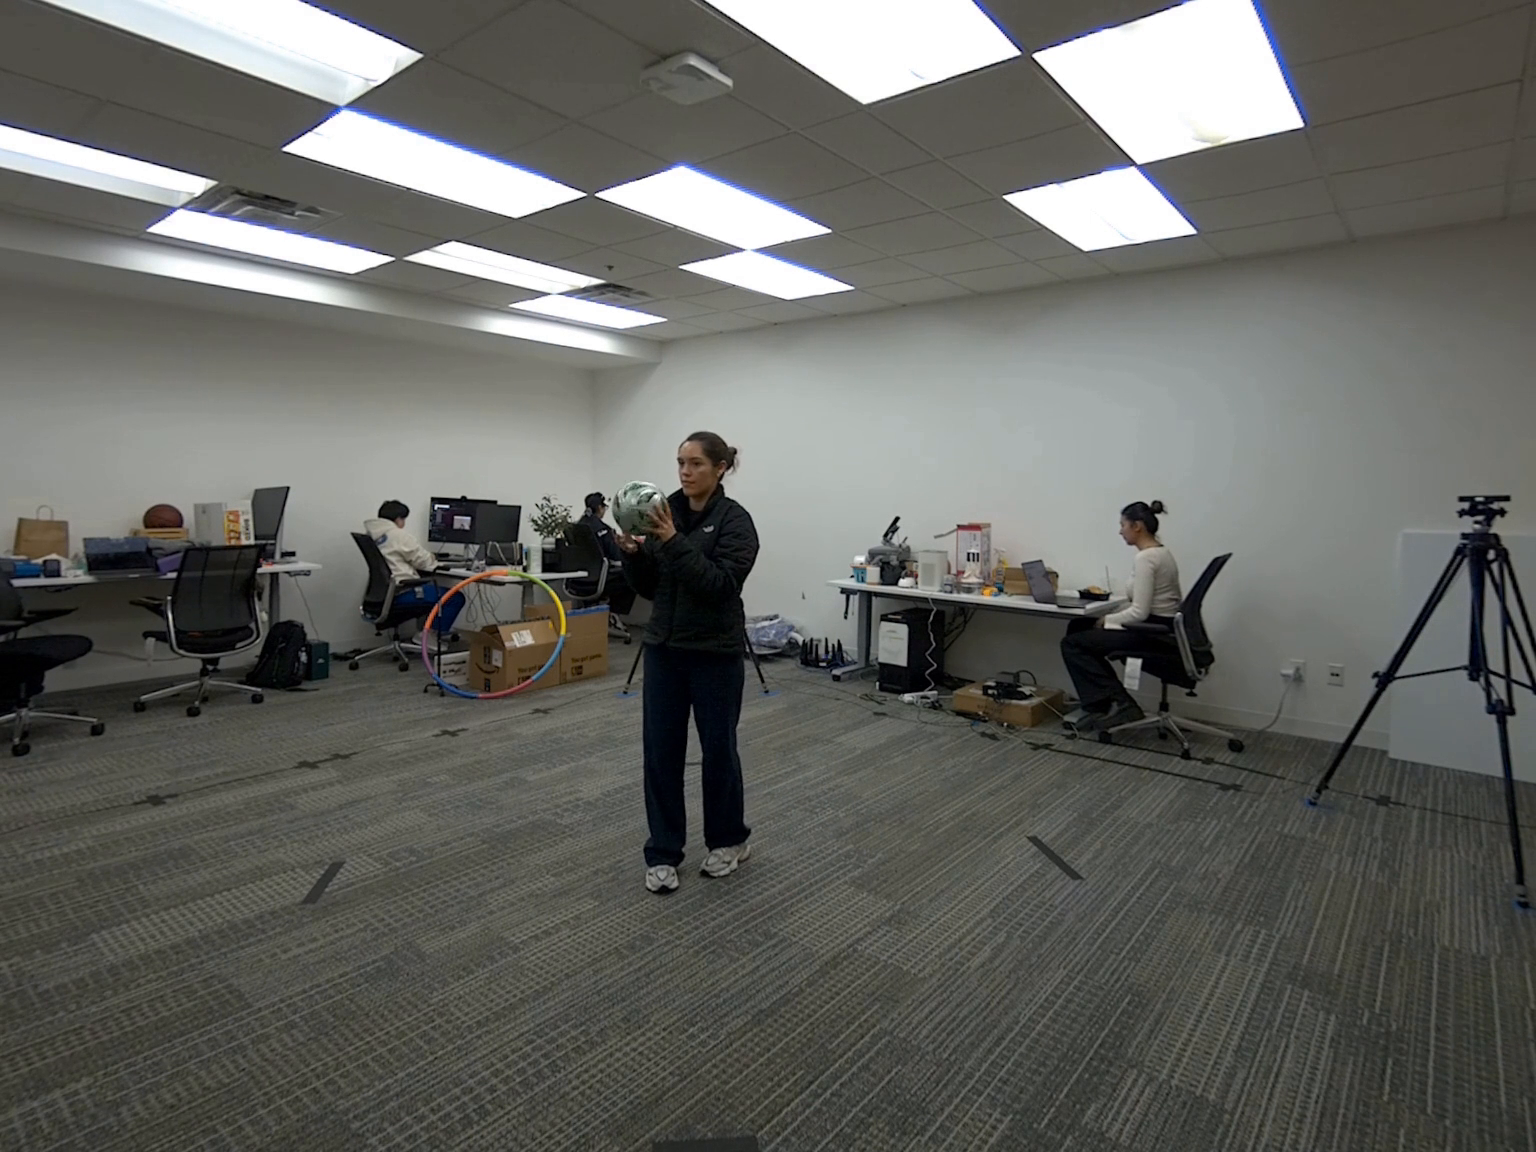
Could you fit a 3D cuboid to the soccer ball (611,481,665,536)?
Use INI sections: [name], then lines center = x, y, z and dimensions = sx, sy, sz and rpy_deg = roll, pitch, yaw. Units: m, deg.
[soccer ball]
center = -0.443, -0.220, 2.861
dimensions = 0.187, 0.187, 0.188
rpy_deg = 1, 4, -2
